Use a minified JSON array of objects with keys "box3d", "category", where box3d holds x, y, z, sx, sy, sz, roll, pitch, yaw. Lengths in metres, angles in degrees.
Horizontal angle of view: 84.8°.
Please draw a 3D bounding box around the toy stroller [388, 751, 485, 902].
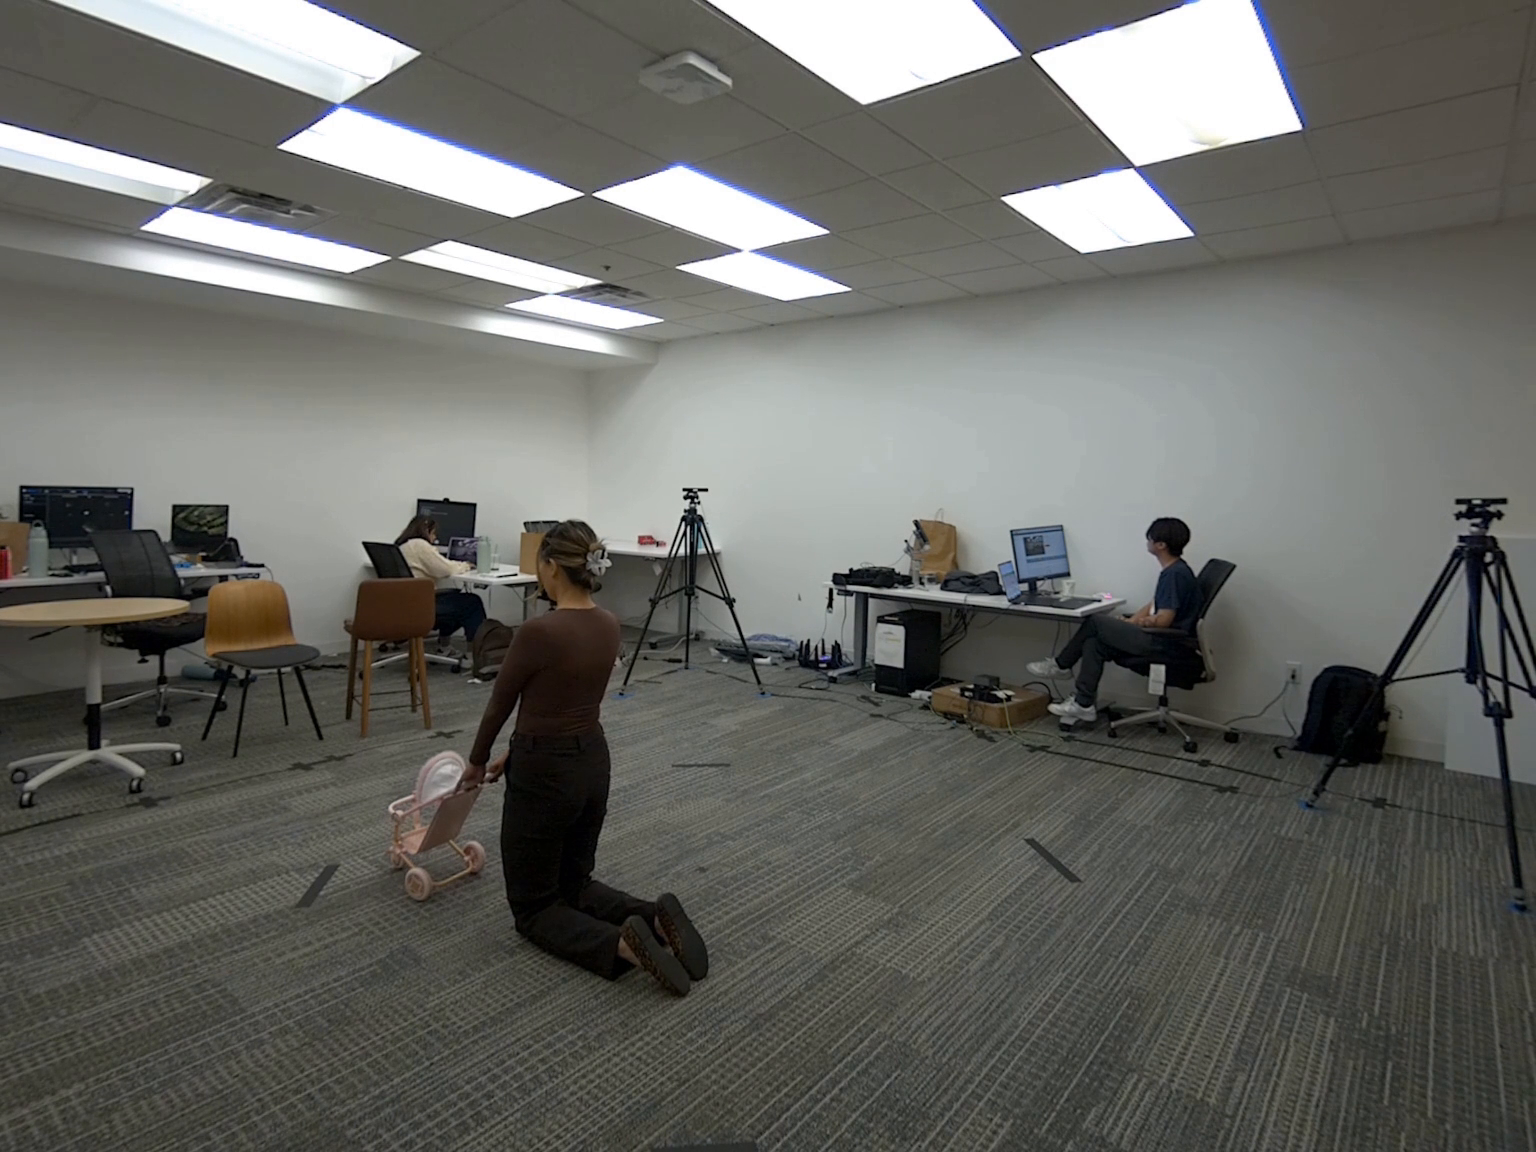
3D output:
[{"box3d":[-1.173,0.846,2.970,0.354,0.531,0.273,24,15,30],"category":"toy stroller"}]
